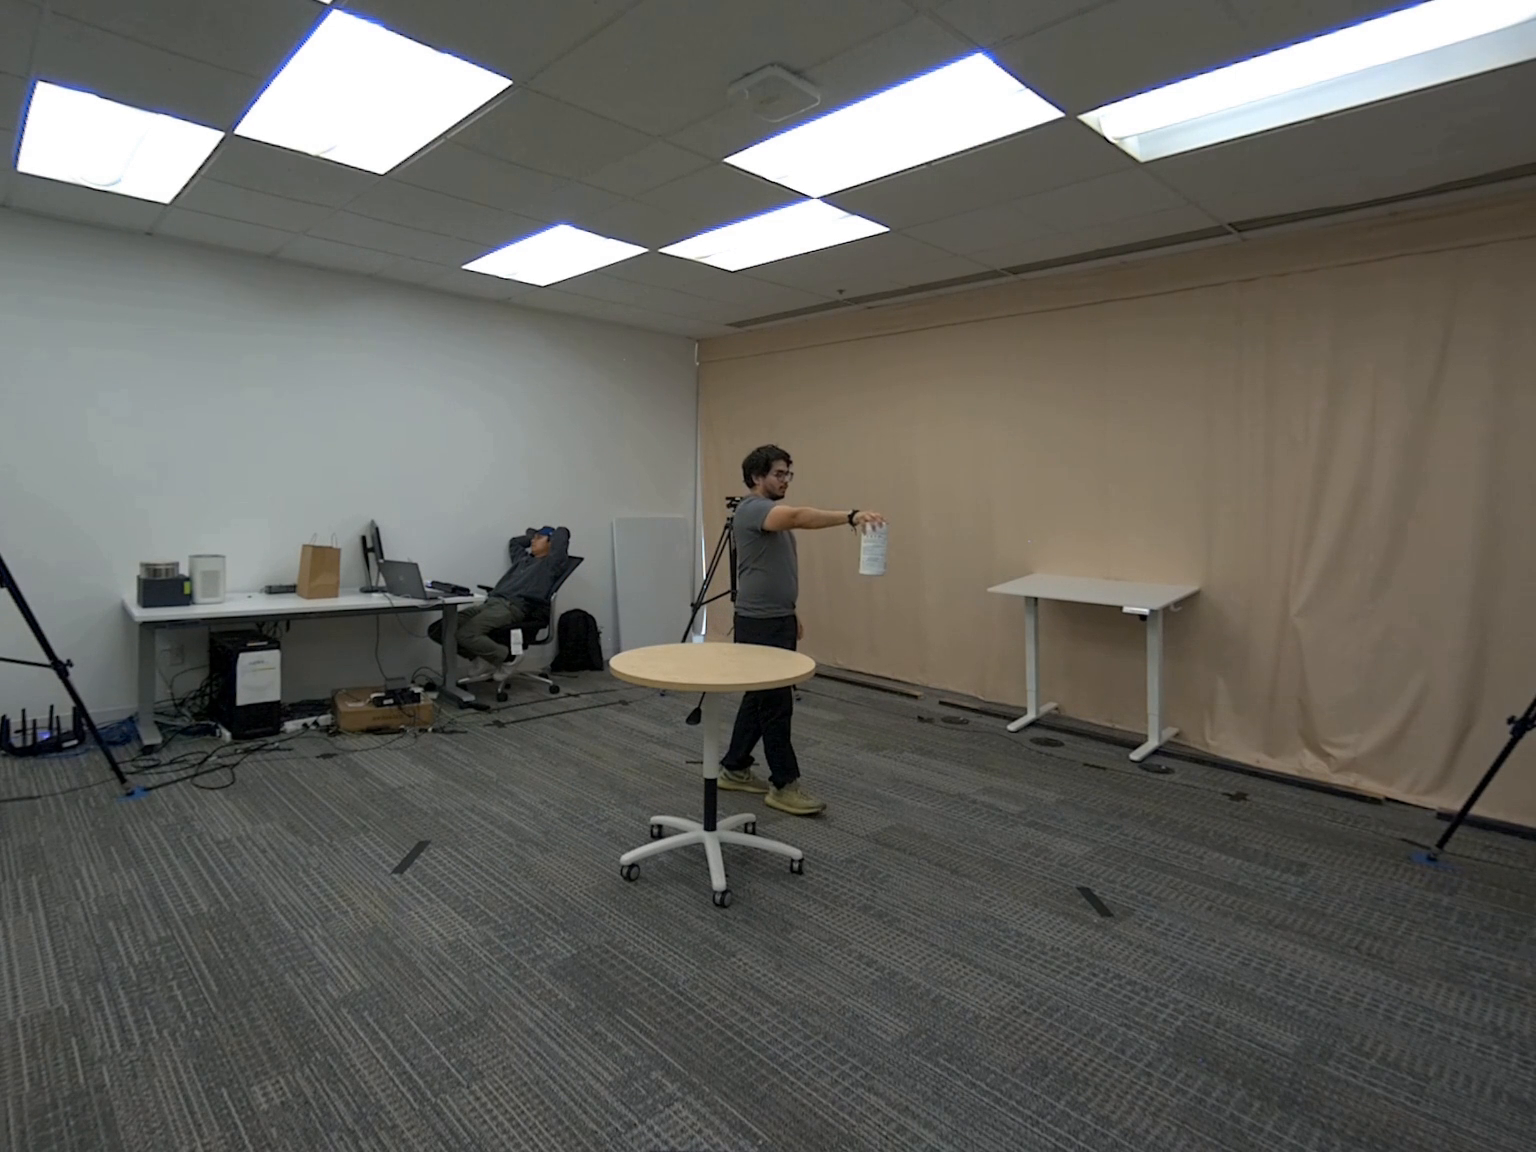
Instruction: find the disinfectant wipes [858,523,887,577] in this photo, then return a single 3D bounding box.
[{"bbox_3d":[0.419,-0.115,3.415,0.118,0.217,0.118,1,4,-1],"label":"disinfectant wipes"}]
